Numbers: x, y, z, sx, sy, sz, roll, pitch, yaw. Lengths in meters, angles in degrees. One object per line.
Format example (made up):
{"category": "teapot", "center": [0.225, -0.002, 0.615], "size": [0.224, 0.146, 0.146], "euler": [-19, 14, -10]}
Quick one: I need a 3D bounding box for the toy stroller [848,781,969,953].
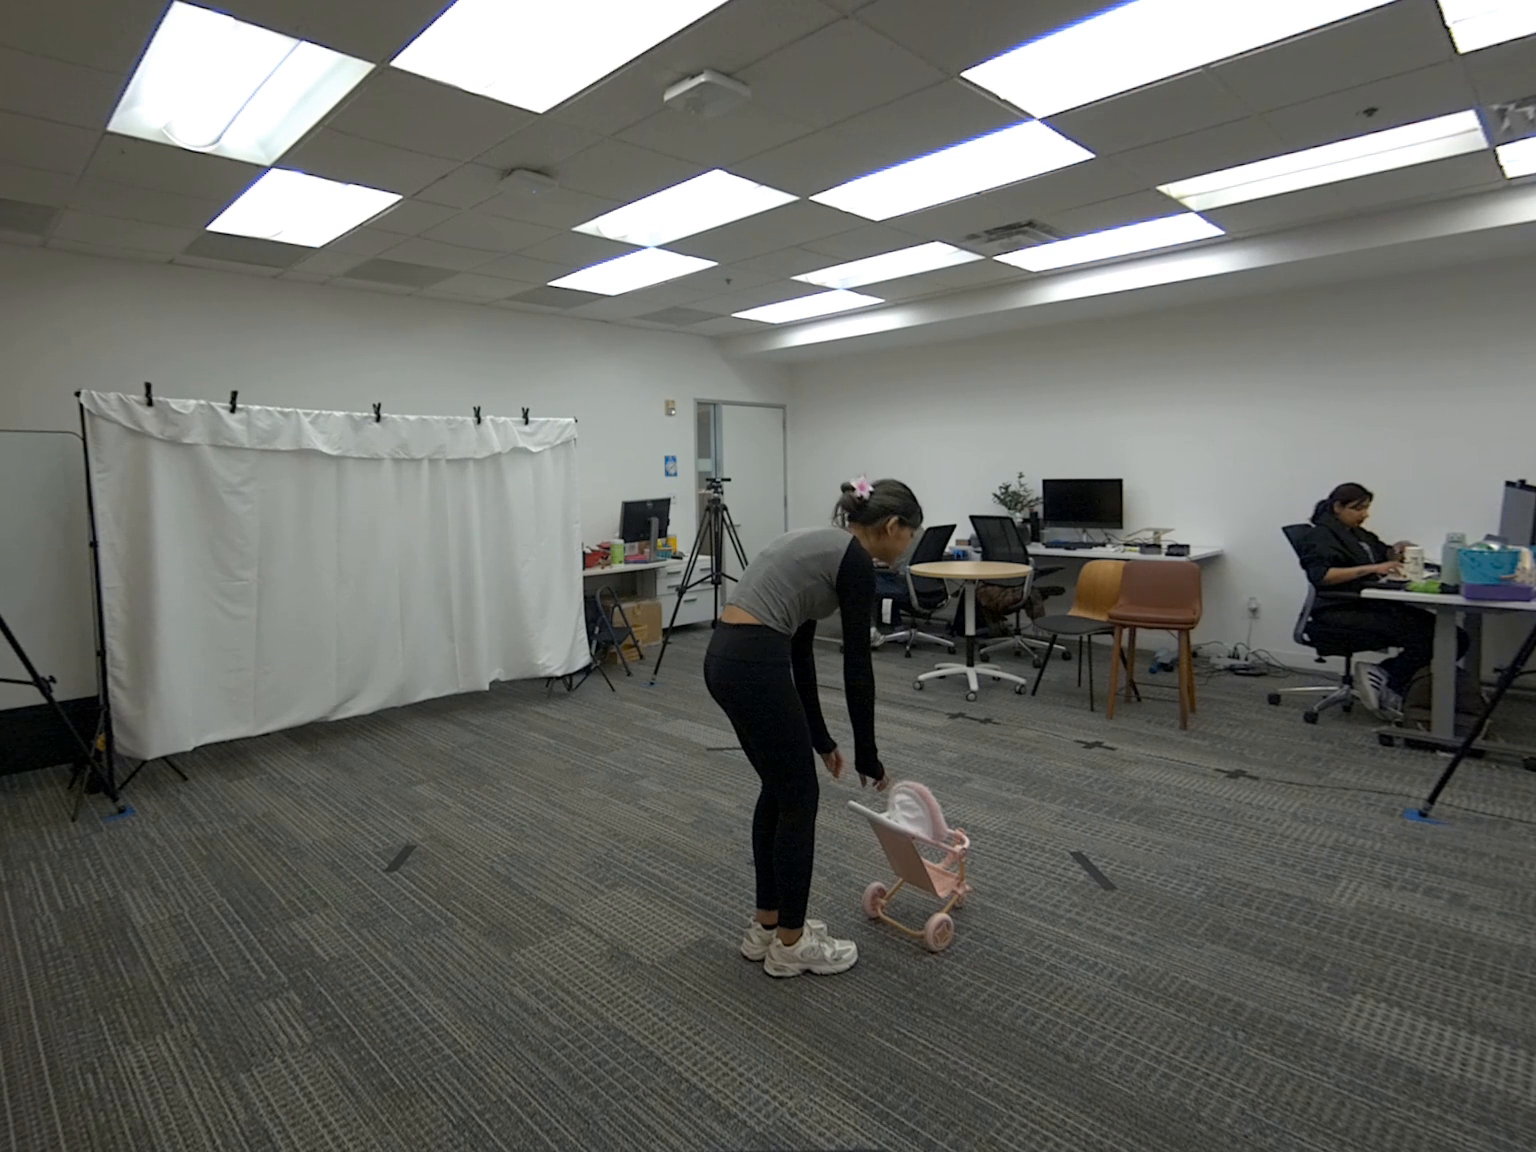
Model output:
{"category": "toy stroller", "center": [0.474, 0.866, 2.632], "size": [0.336, 0.527, 0.290], "euler": [-23, 16, -31]}
